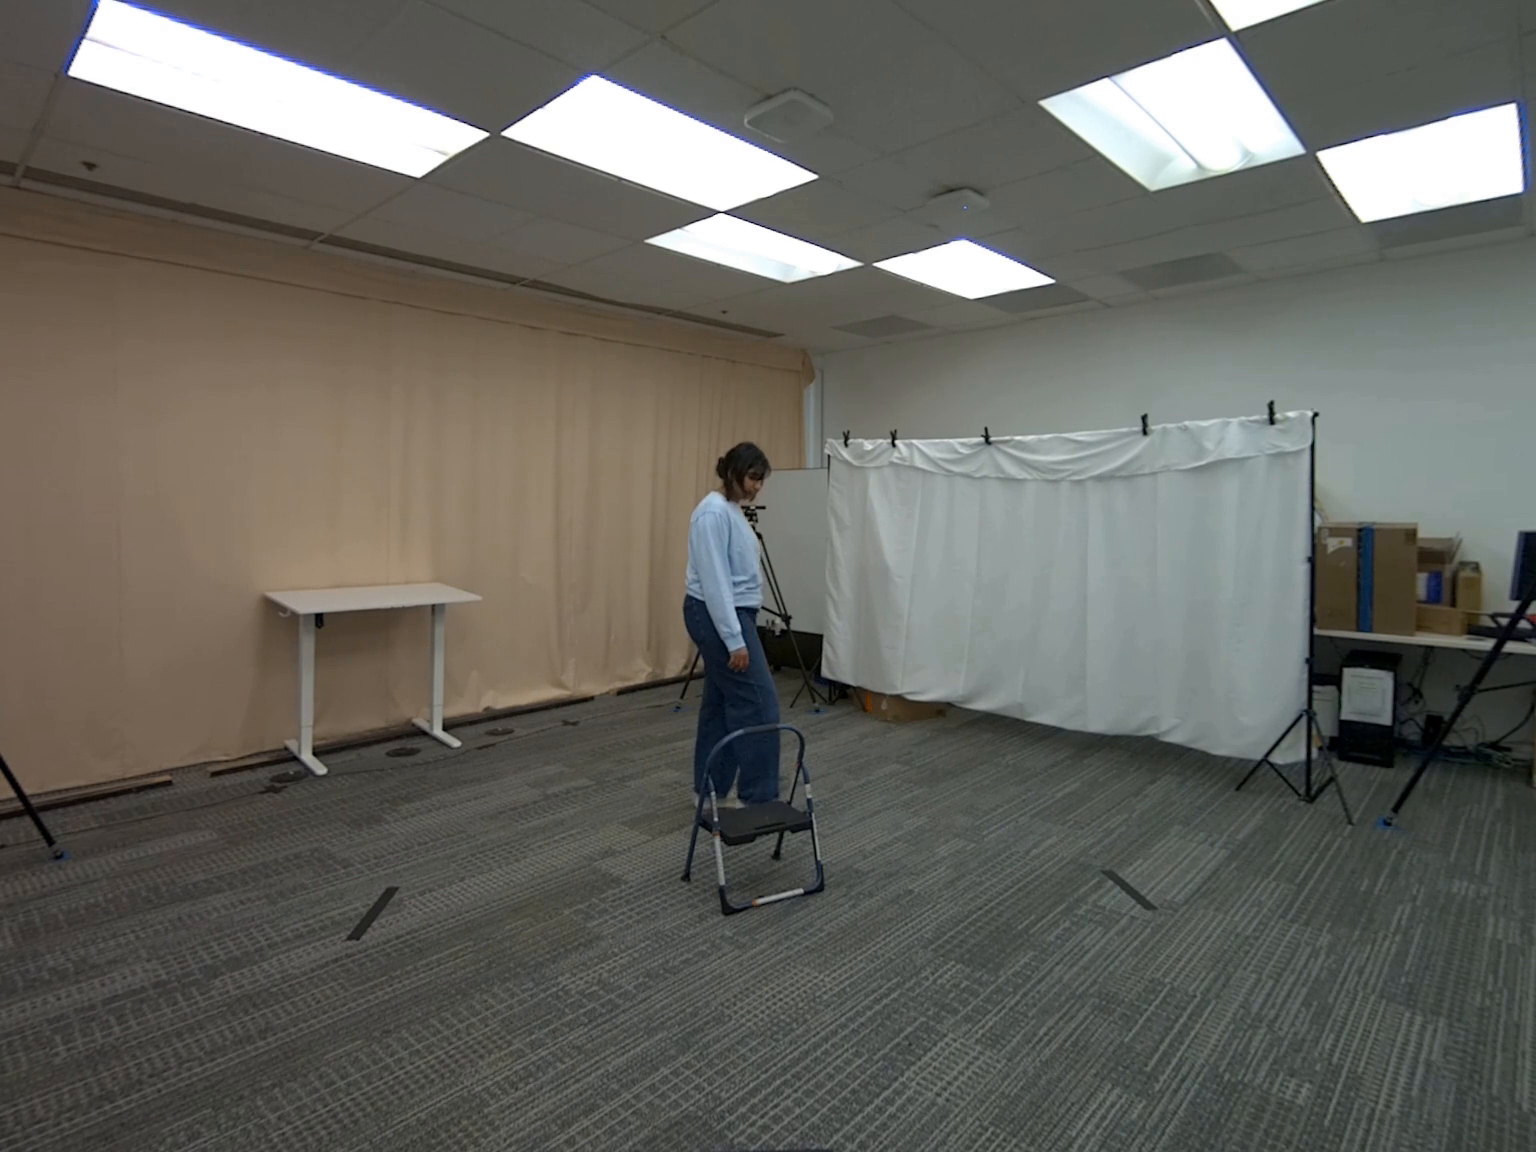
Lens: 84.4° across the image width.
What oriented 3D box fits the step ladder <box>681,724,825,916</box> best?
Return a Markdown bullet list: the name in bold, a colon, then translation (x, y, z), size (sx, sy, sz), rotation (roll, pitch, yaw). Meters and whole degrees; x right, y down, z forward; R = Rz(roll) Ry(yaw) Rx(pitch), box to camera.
- **step ladder**: translation (-0.056, 0.831, 3.082), size (0.419, 0.605, 0.359), rotation (-3, 4, -30)
